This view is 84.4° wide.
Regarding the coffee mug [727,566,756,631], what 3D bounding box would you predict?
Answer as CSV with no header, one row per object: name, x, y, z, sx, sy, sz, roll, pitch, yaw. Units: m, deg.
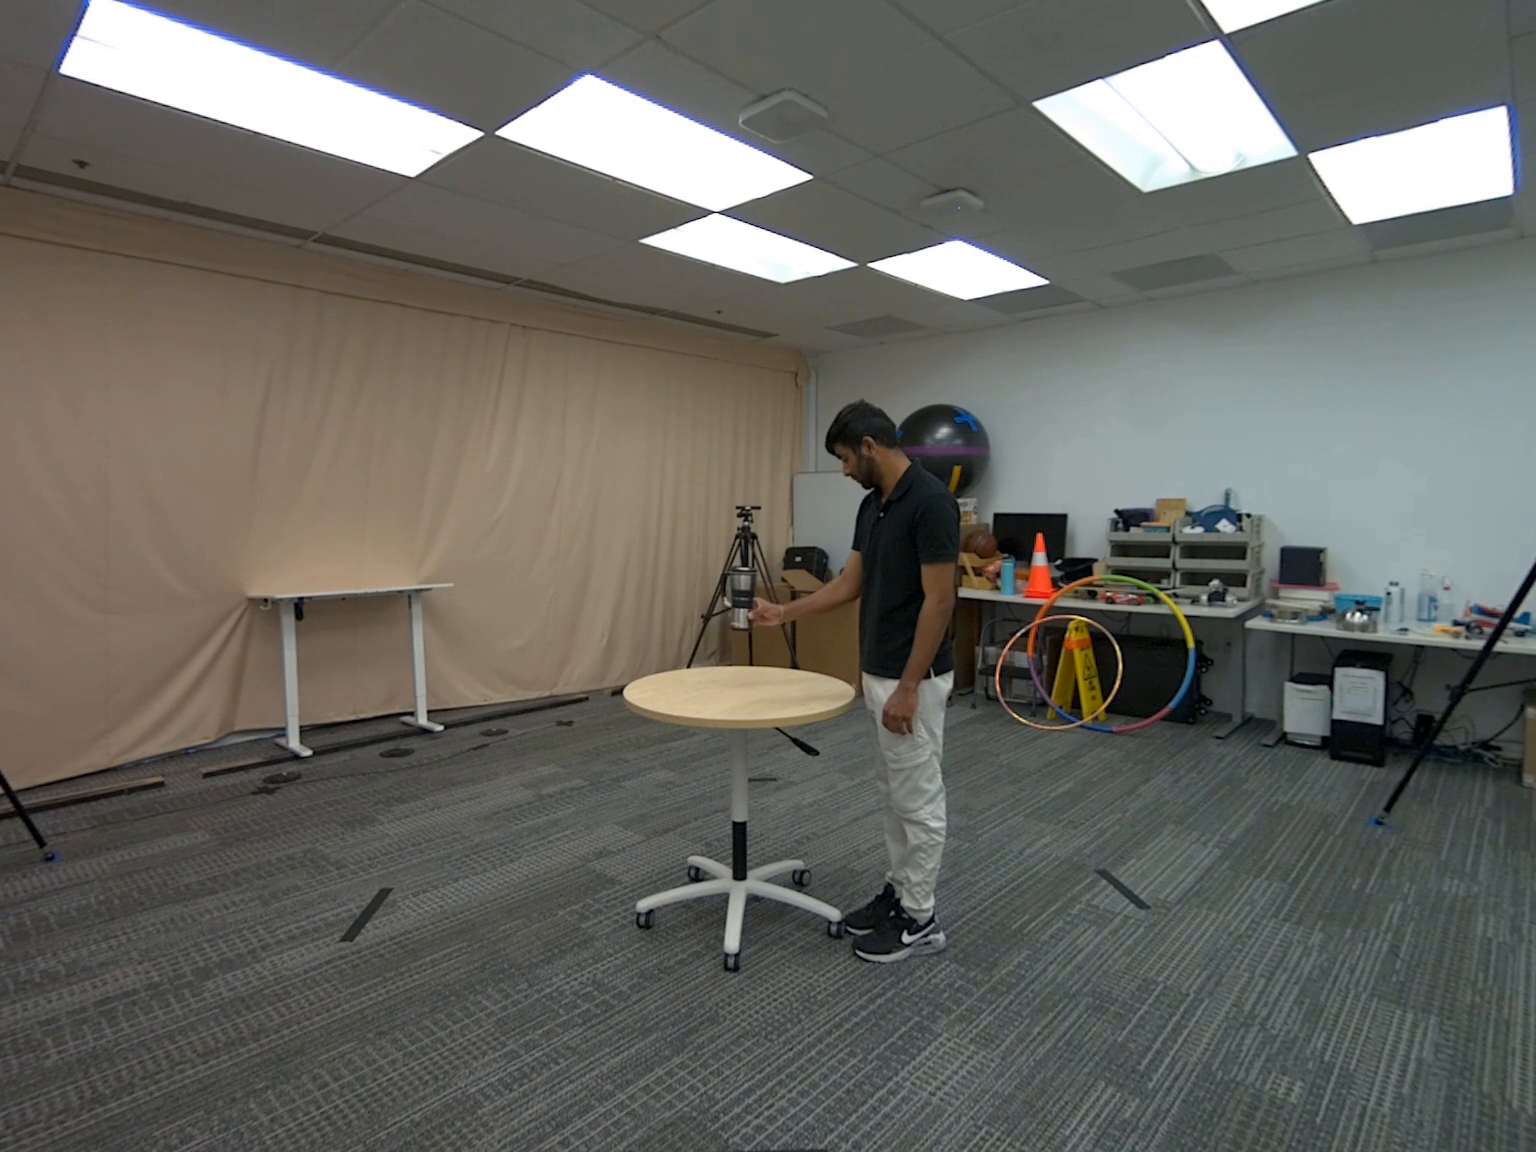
coffee mug,-0.083,0.073,2.720,0.086,0.202,0.125,-1,5,-27
